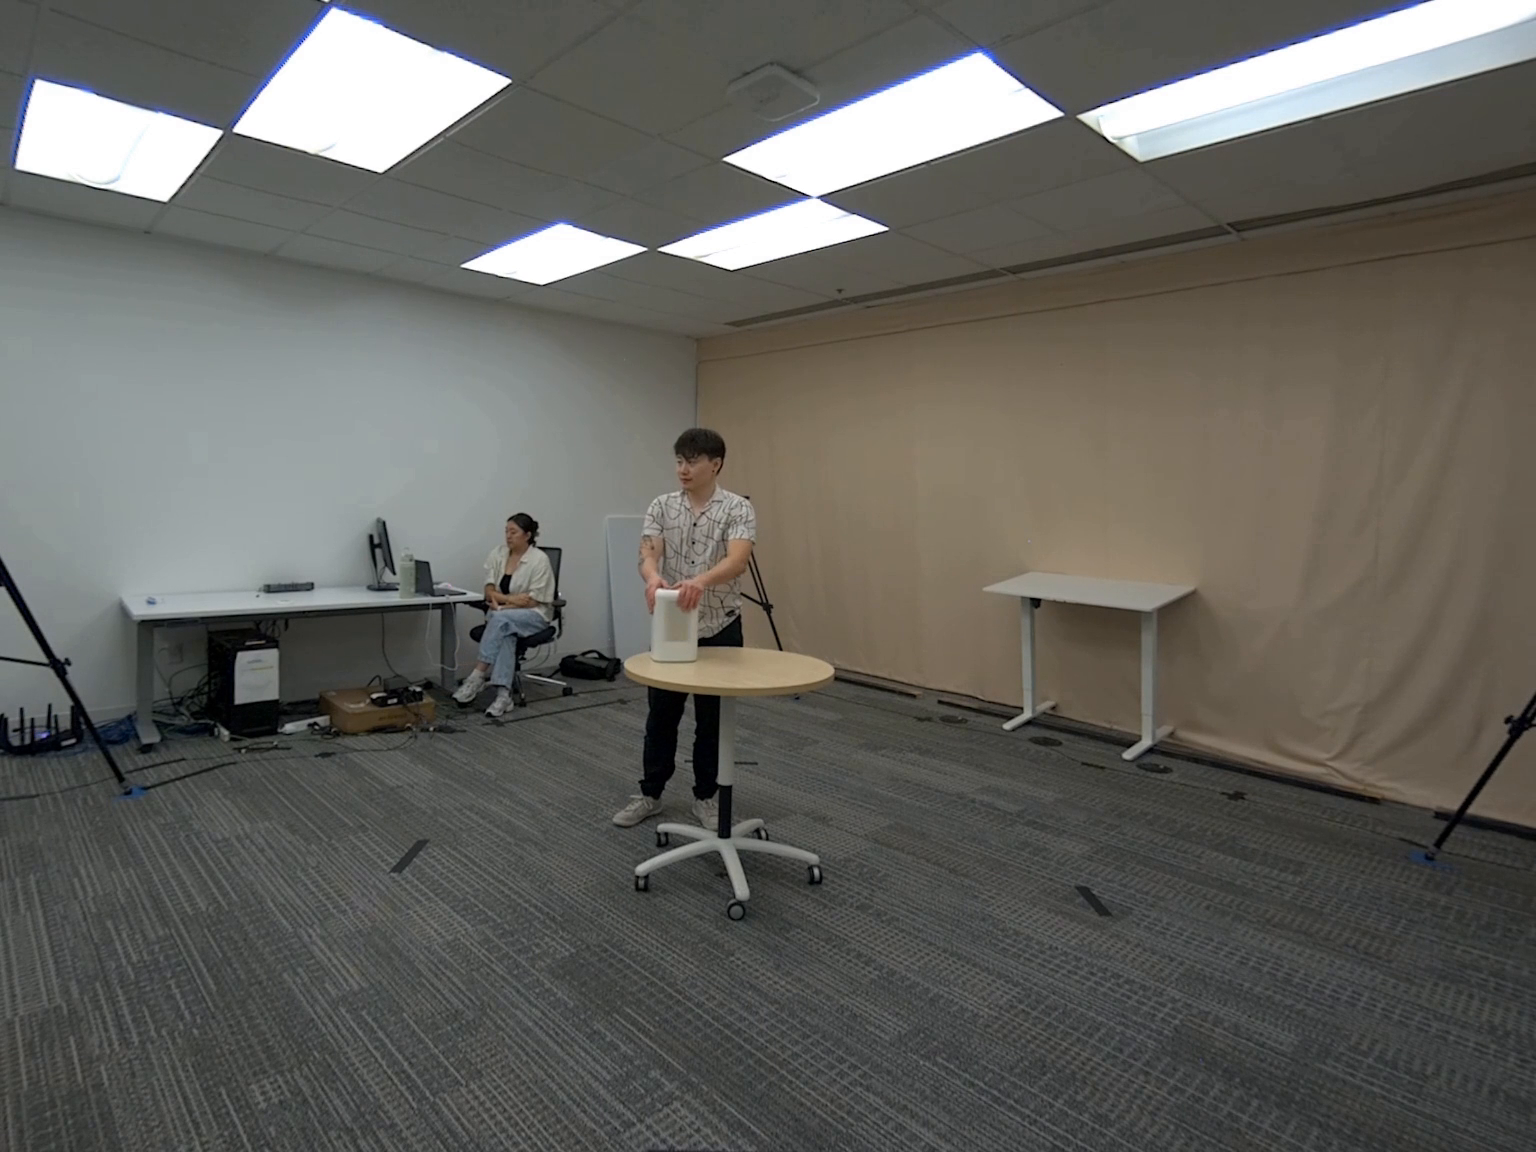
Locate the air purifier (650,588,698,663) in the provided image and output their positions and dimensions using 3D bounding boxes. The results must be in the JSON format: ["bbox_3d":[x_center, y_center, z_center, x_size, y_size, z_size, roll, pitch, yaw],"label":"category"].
[{"bbox_3d":[-0.363,0.178,3.164,0.170,0.265,0.173,2,3,-10],"label":"air purifier"}]
